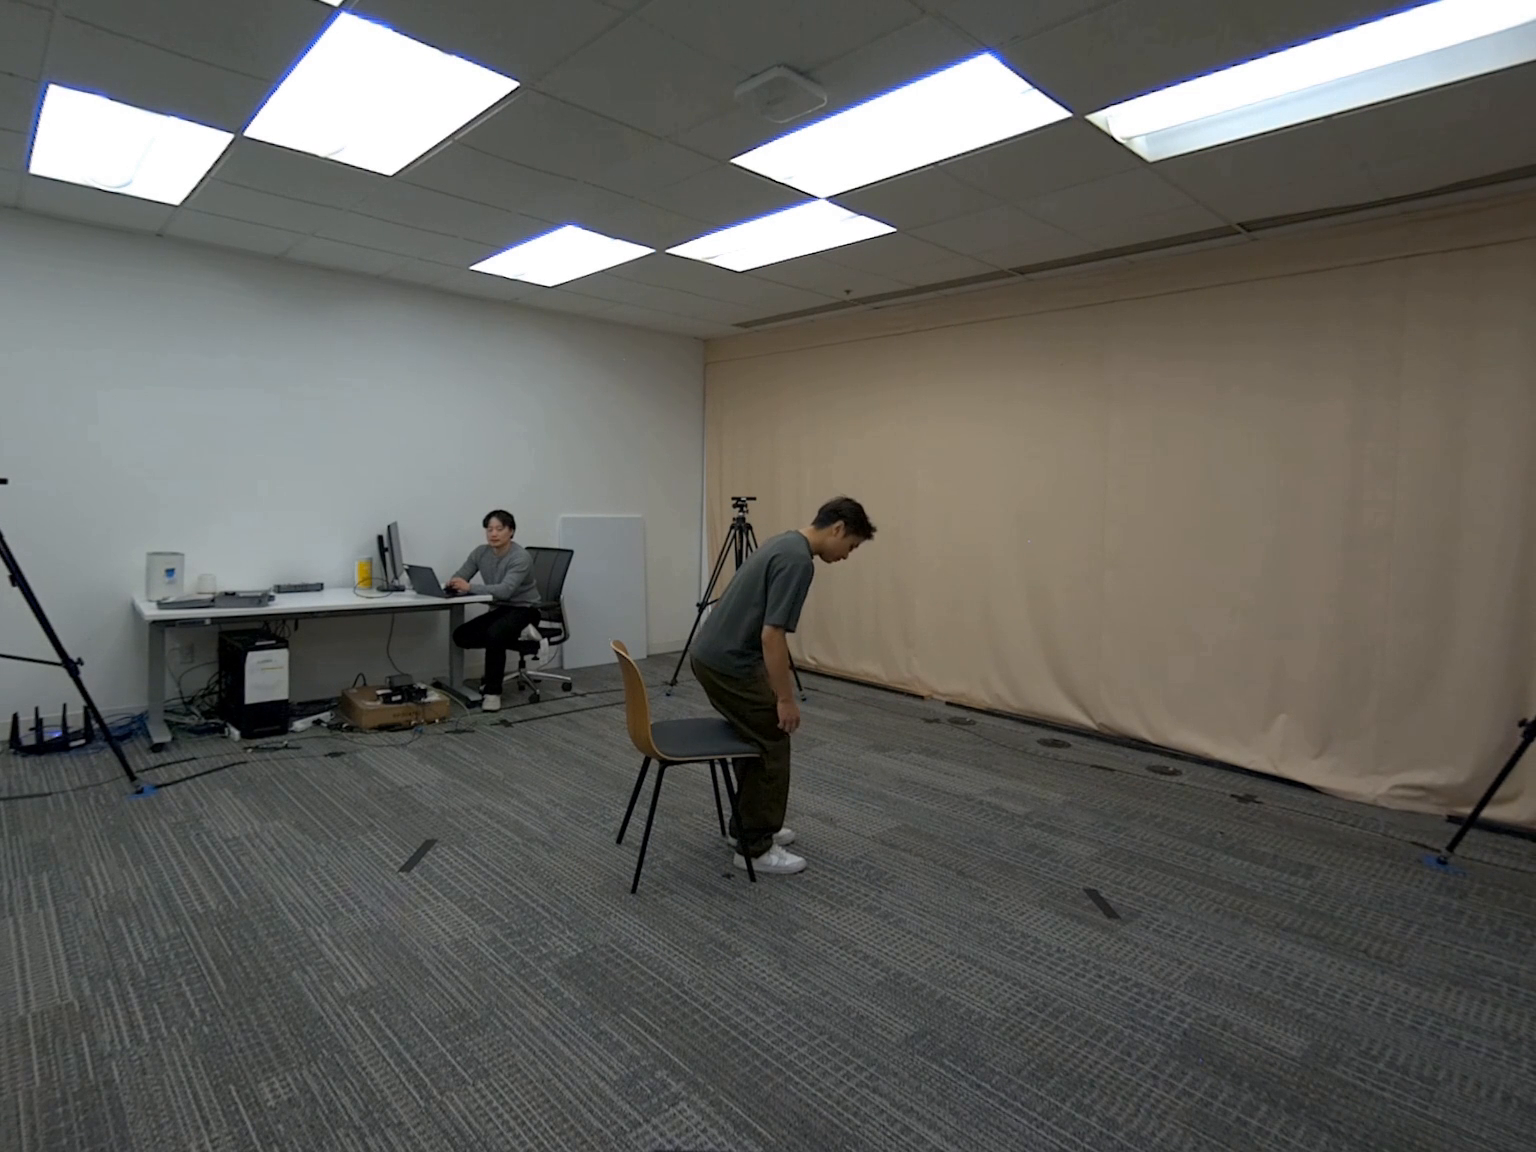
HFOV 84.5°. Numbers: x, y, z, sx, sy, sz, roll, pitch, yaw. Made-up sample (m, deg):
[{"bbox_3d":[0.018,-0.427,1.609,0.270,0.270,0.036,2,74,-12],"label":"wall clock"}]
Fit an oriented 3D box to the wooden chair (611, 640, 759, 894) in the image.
[{"bbox_3d":[-0.315,0.665,3.182,0.517,0.875,0.485,-3,4,-15],"label":"wooden chair"}]
